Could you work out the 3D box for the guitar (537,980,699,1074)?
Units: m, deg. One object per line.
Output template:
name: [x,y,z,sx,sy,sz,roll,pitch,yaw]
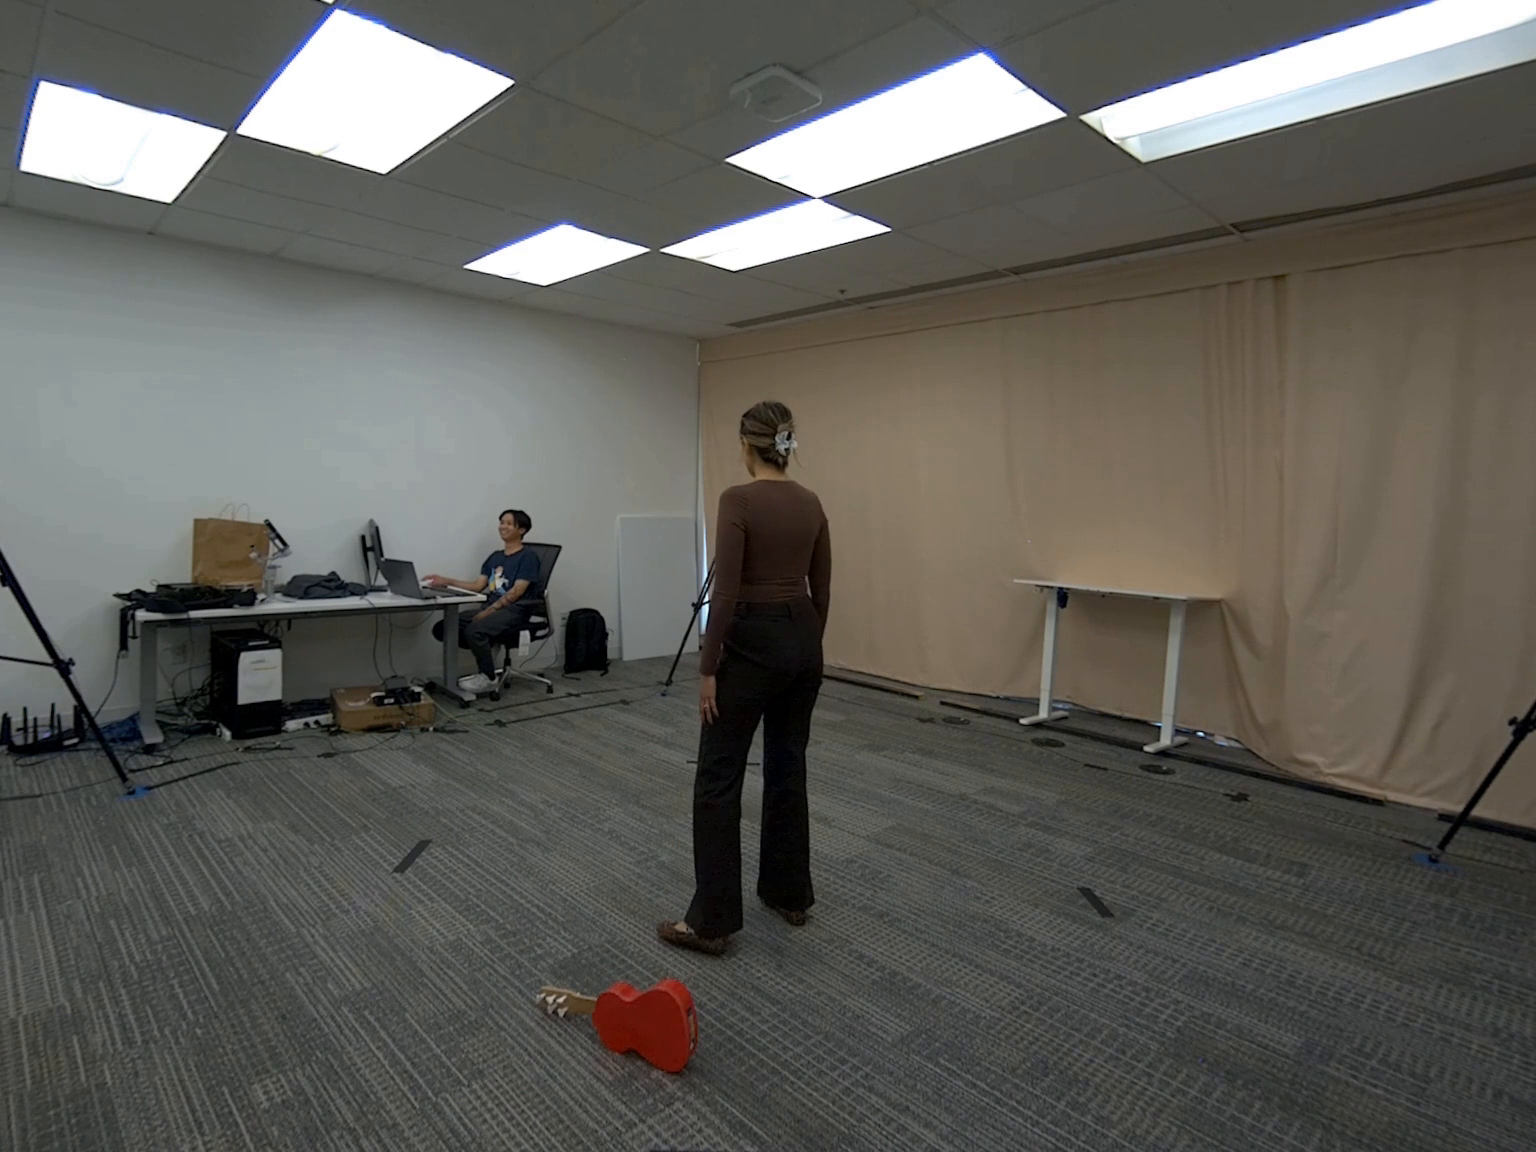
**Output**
guitar: [-0.404,1.153,2.145,0.504,0.194,0.069,-17,-6,27]
